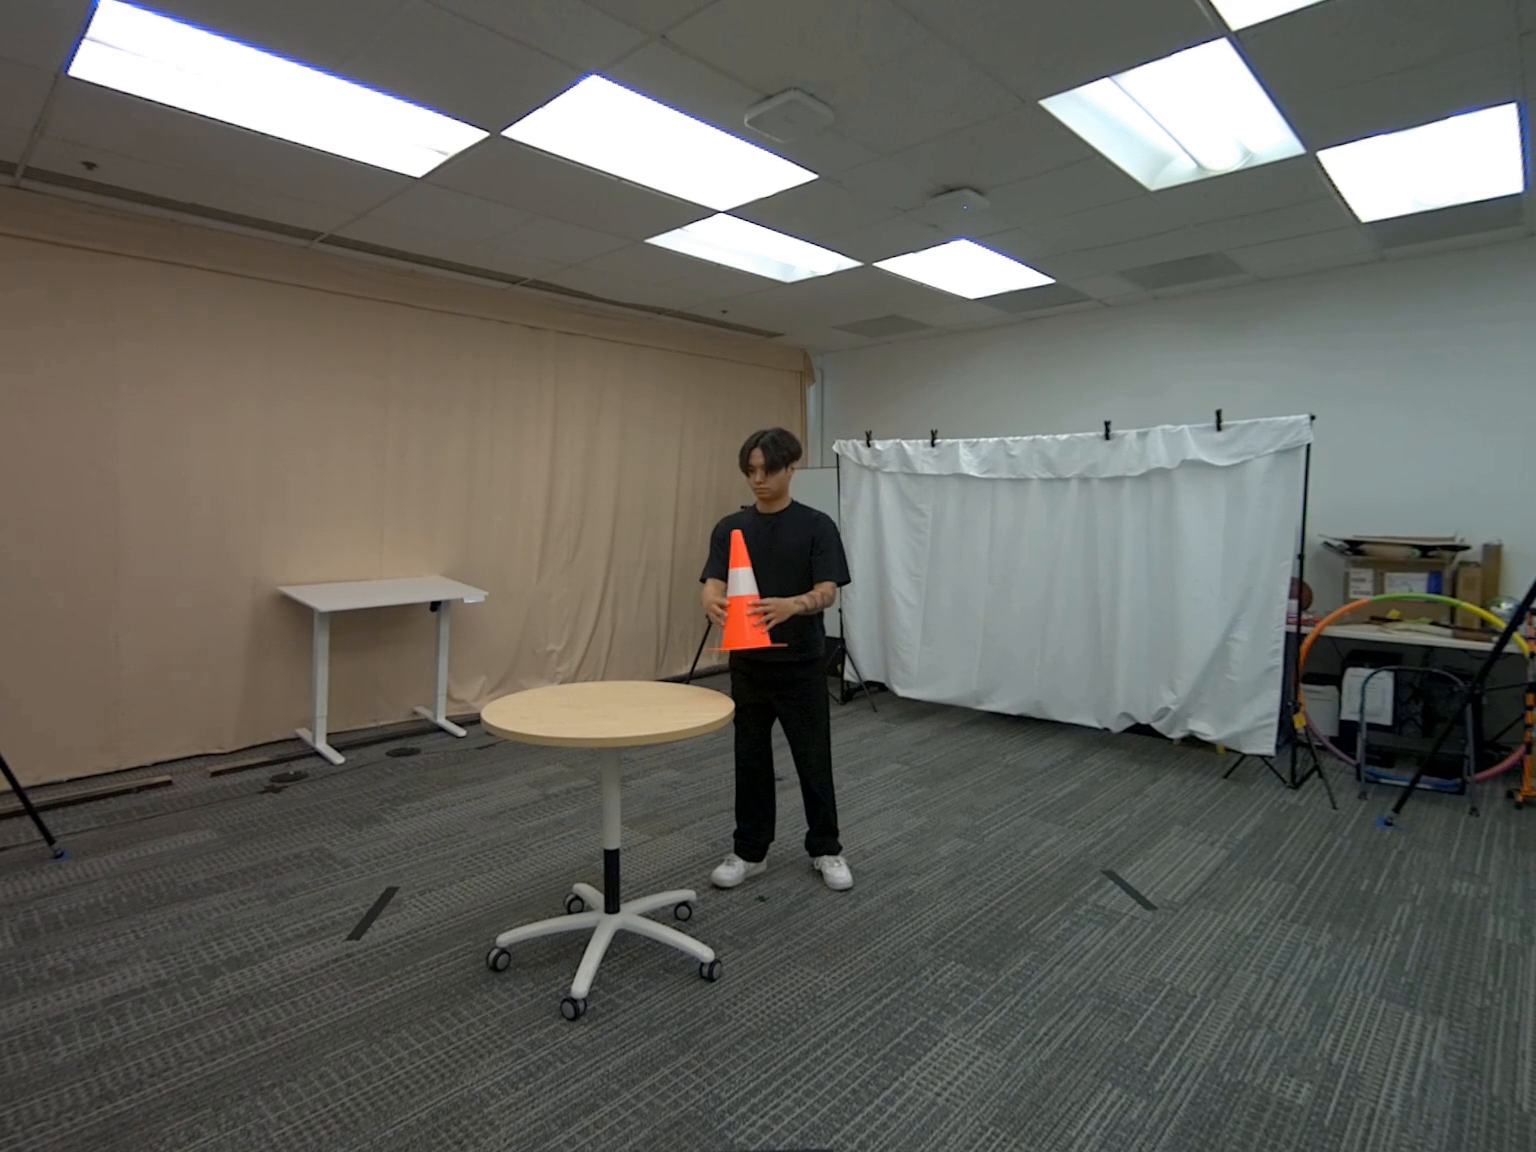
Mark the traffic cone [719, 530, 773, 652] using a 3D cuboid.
[{"bbox_3d":[-0.084,0.043,2.732,0.209,0.385,0.199,-8,-5,31],"label":"traffic cone"}]
